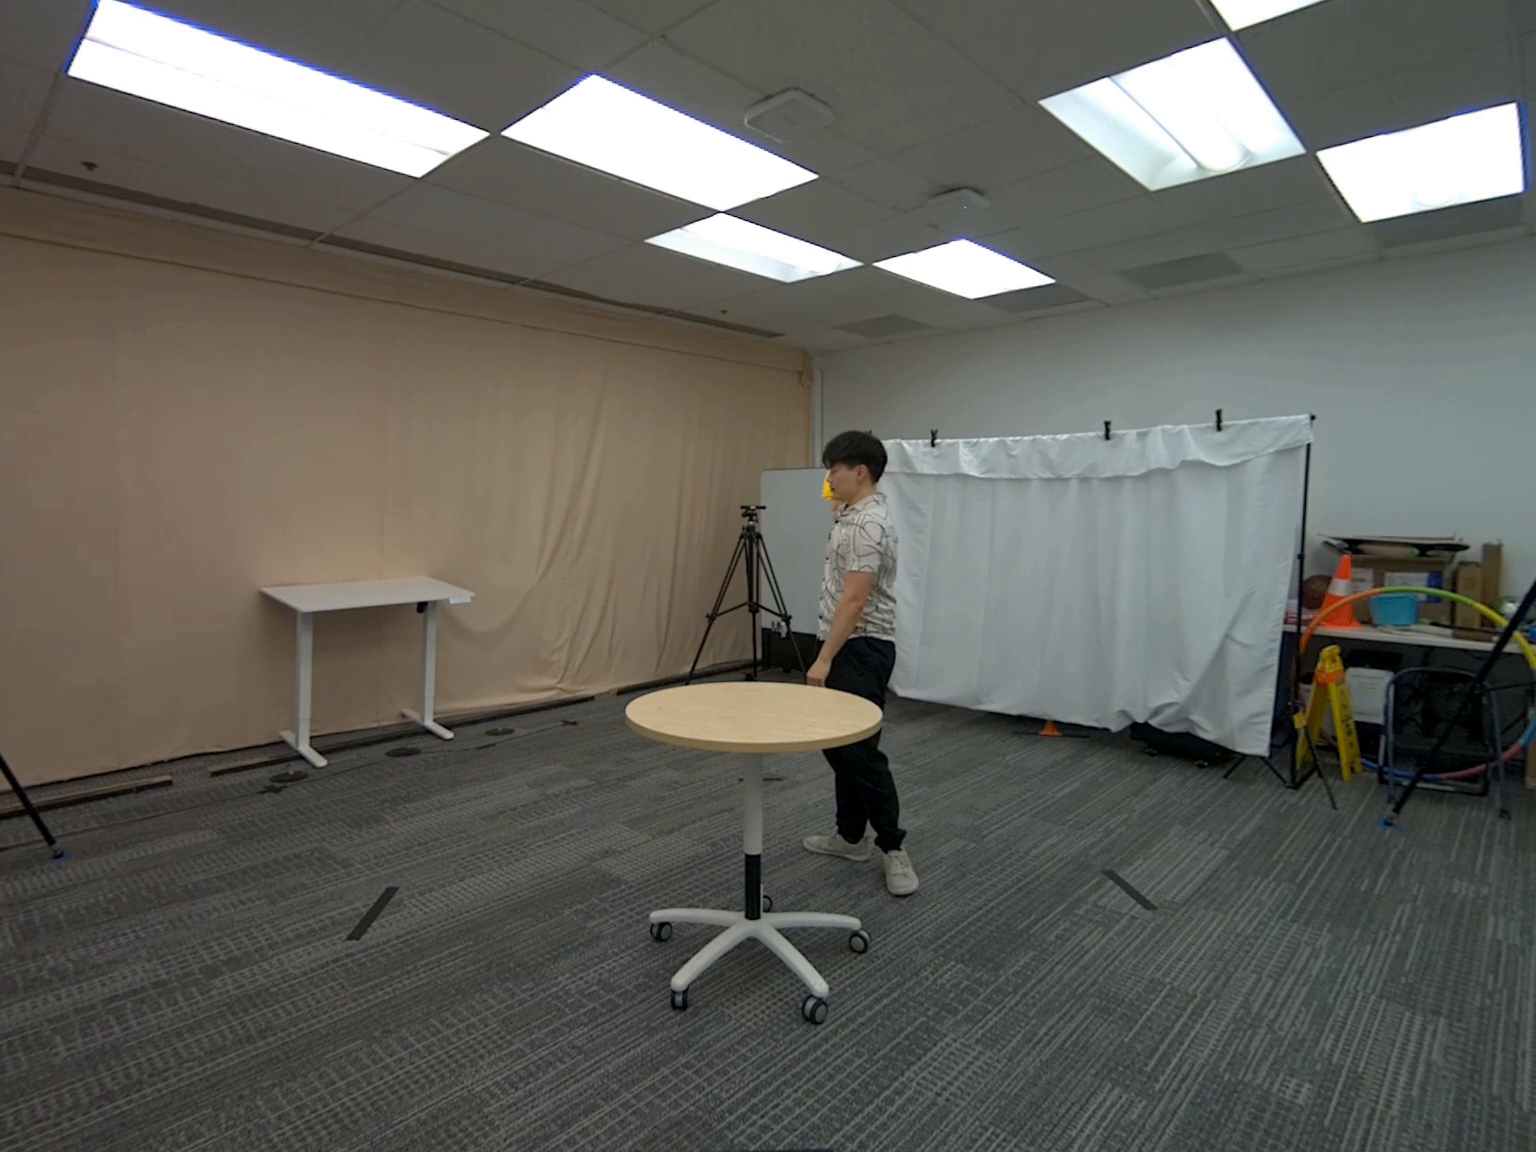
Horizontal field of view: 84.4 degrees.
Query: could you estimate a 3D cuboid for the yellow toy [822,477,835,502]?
[{"bbox_3d":[0.325,-0.432,3.421,0.196,0.231,0.201,0,0,16],"label":"yellow toy"}]
